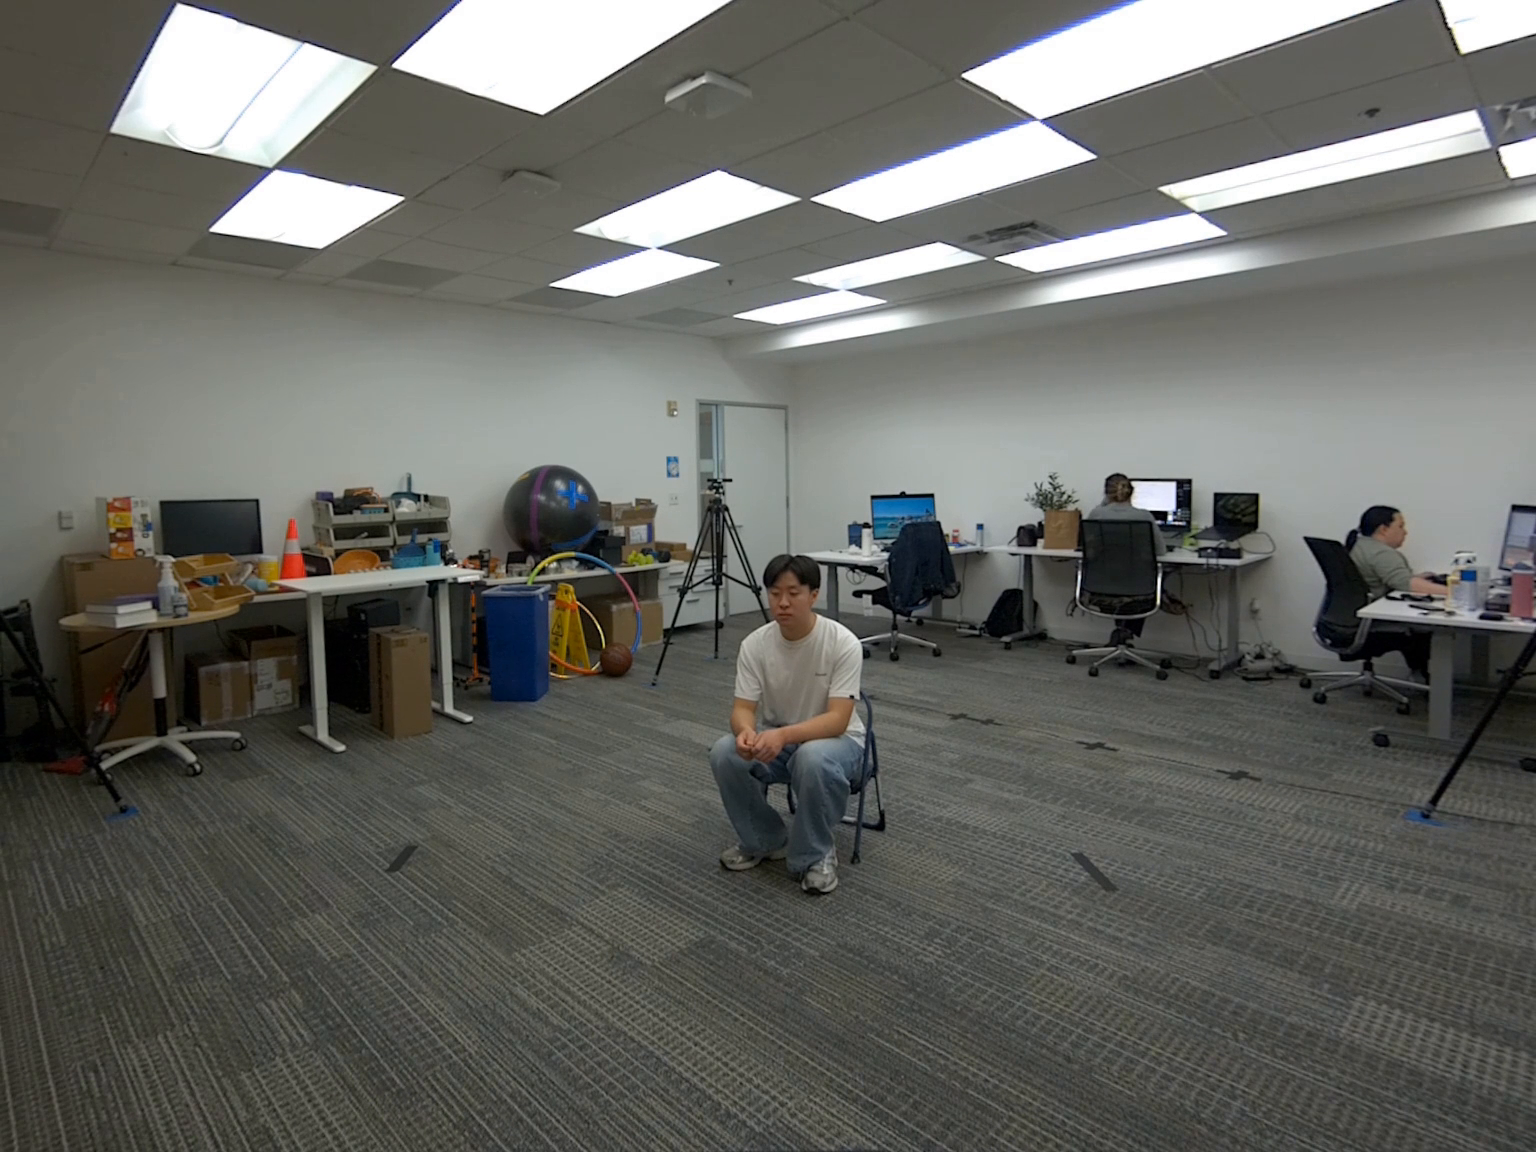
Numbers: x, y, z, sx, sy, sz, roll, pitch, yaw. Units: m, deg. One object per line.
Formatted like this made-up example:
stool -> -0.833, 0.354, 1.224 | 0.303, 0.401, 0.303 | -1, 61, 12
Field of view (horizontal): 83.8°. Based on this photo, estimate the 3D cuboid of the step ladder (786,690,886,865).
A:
step ladder -> 0.214, 0.717, 3.327 | 0.442, 0.604, 0.342 | 2, 5, 28
